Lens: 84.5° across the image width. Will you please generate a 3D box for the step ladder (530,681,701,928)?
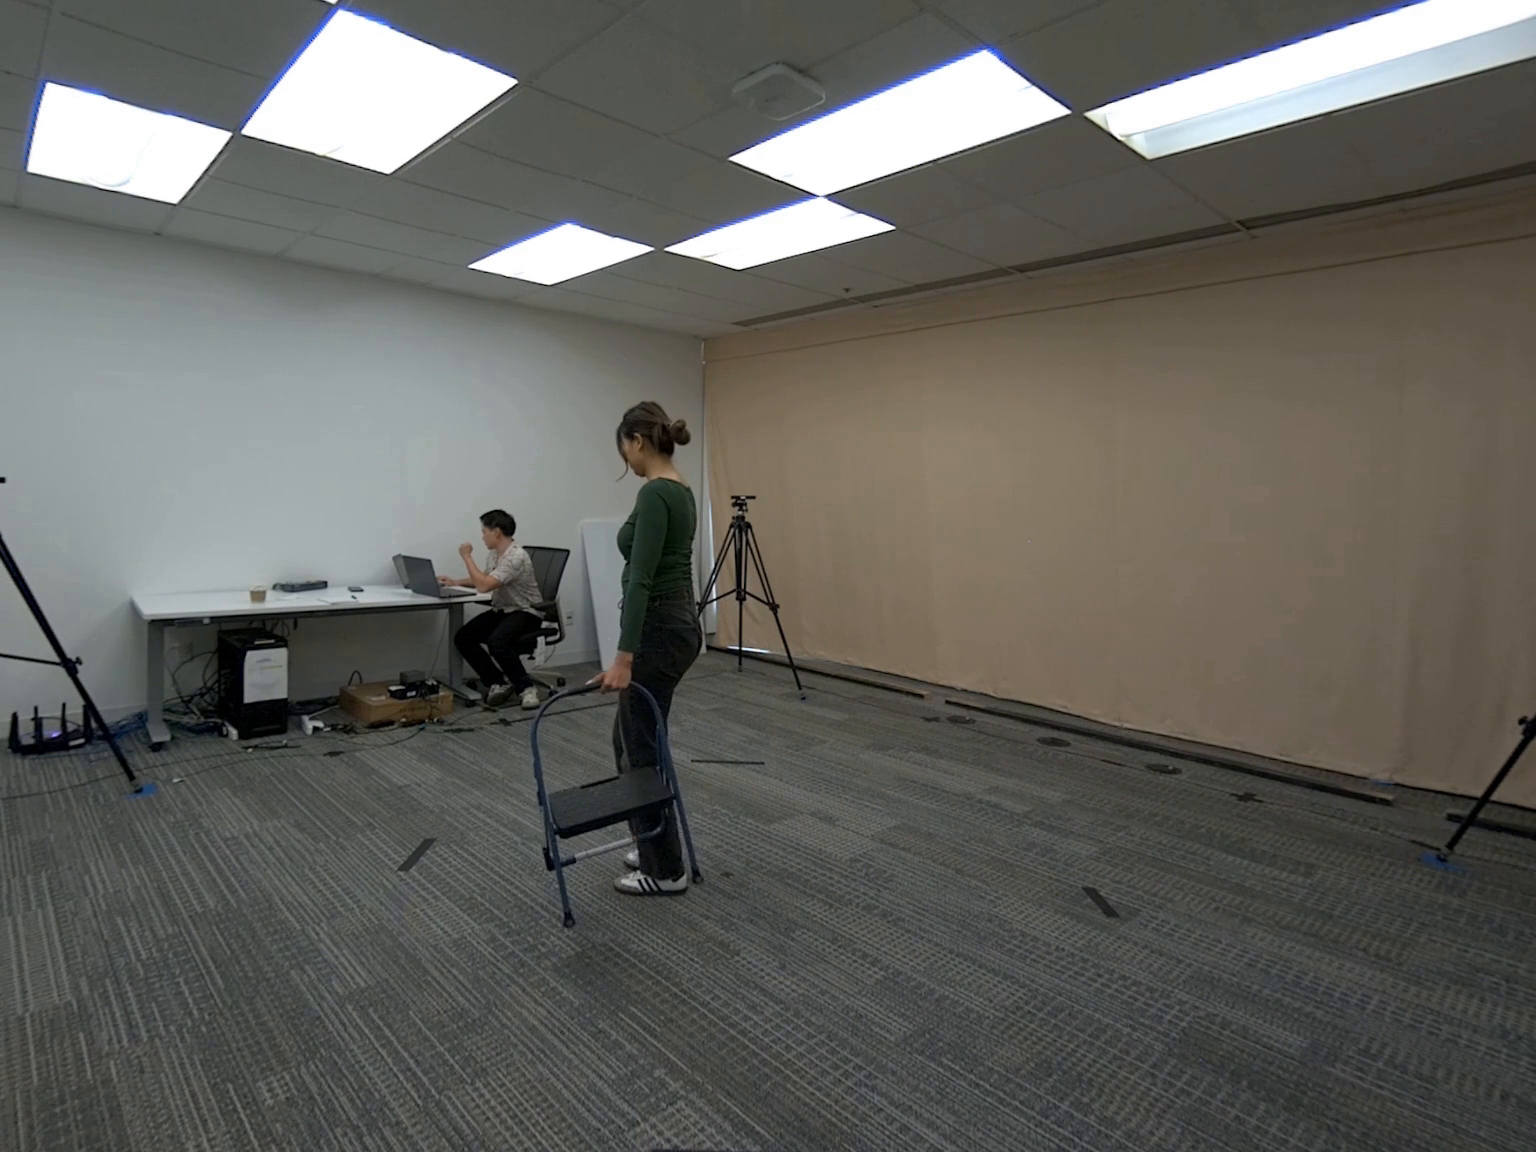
[{"bbox_3d":[-0.494,0.646,2.574,0.424,0.601,0.357,-11,11,-24],"label":"step ladder"}]
